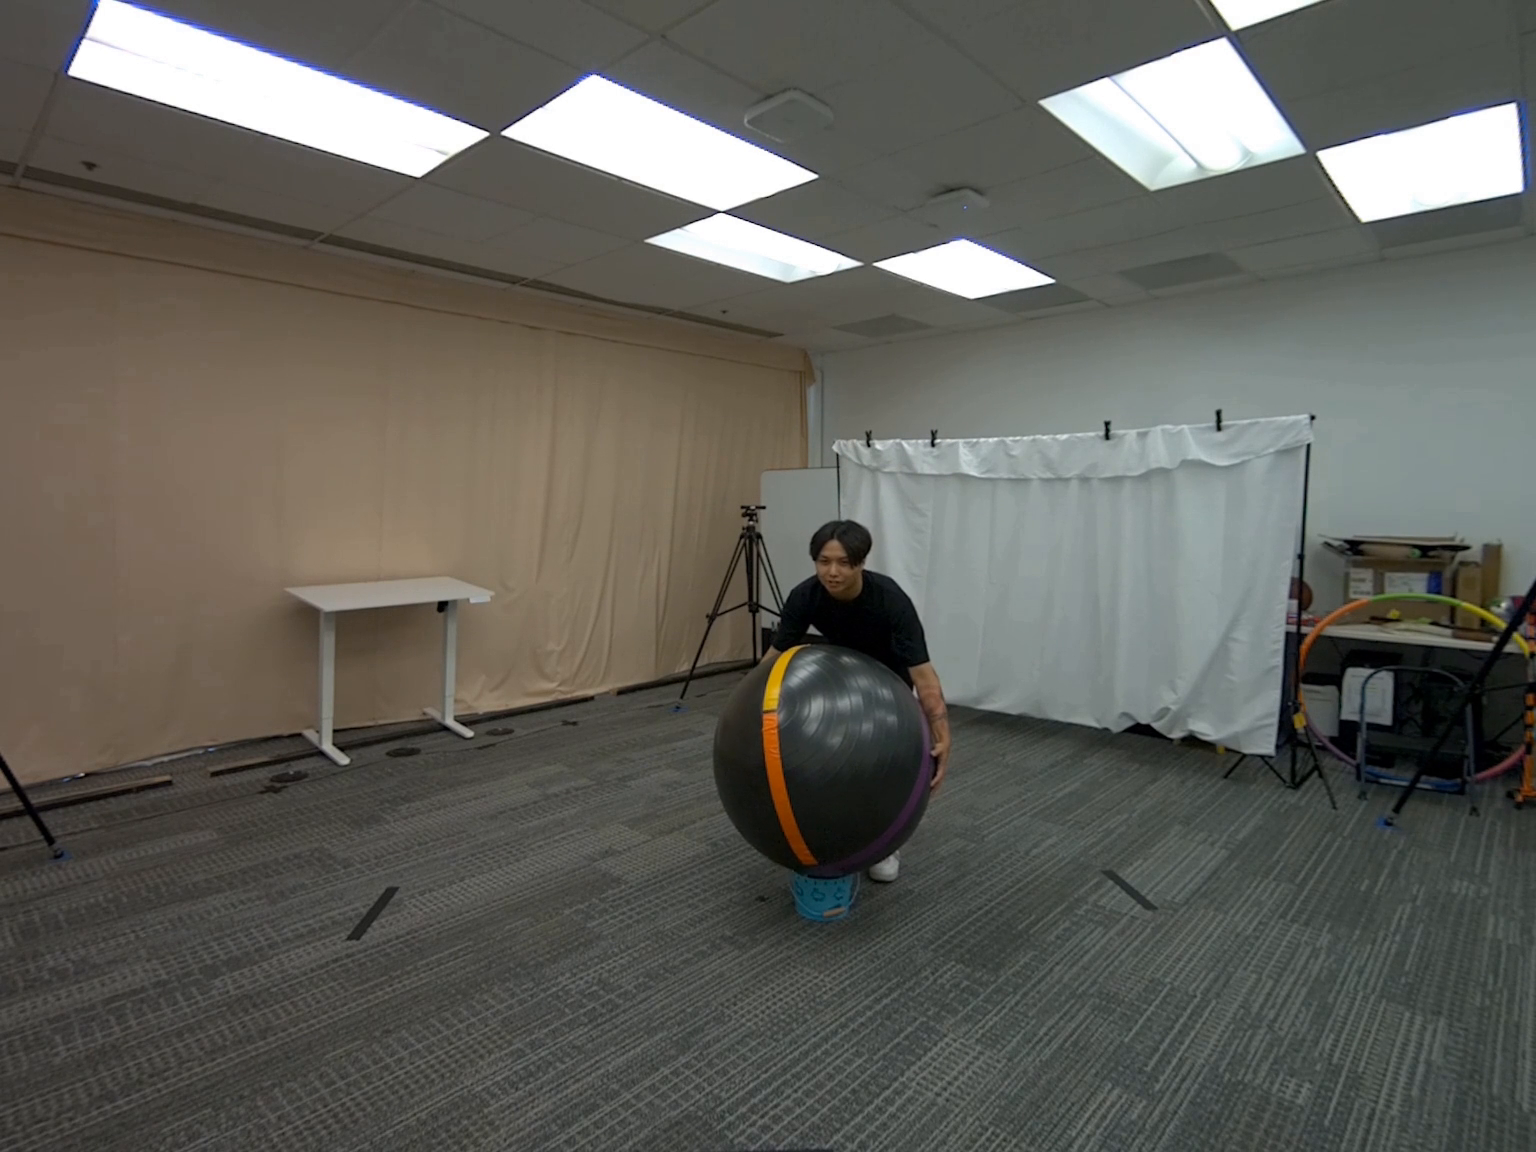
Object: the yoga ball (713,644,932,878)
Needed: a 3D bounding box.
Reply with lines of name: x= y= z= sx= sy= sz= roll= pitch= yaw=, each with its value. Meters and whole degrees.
yoga ball: x=0.188 y=0.612 z=2.886 sx=0.757 sy=0.756 sz=0.760 roll=0 pitch=4 yaw=-2
